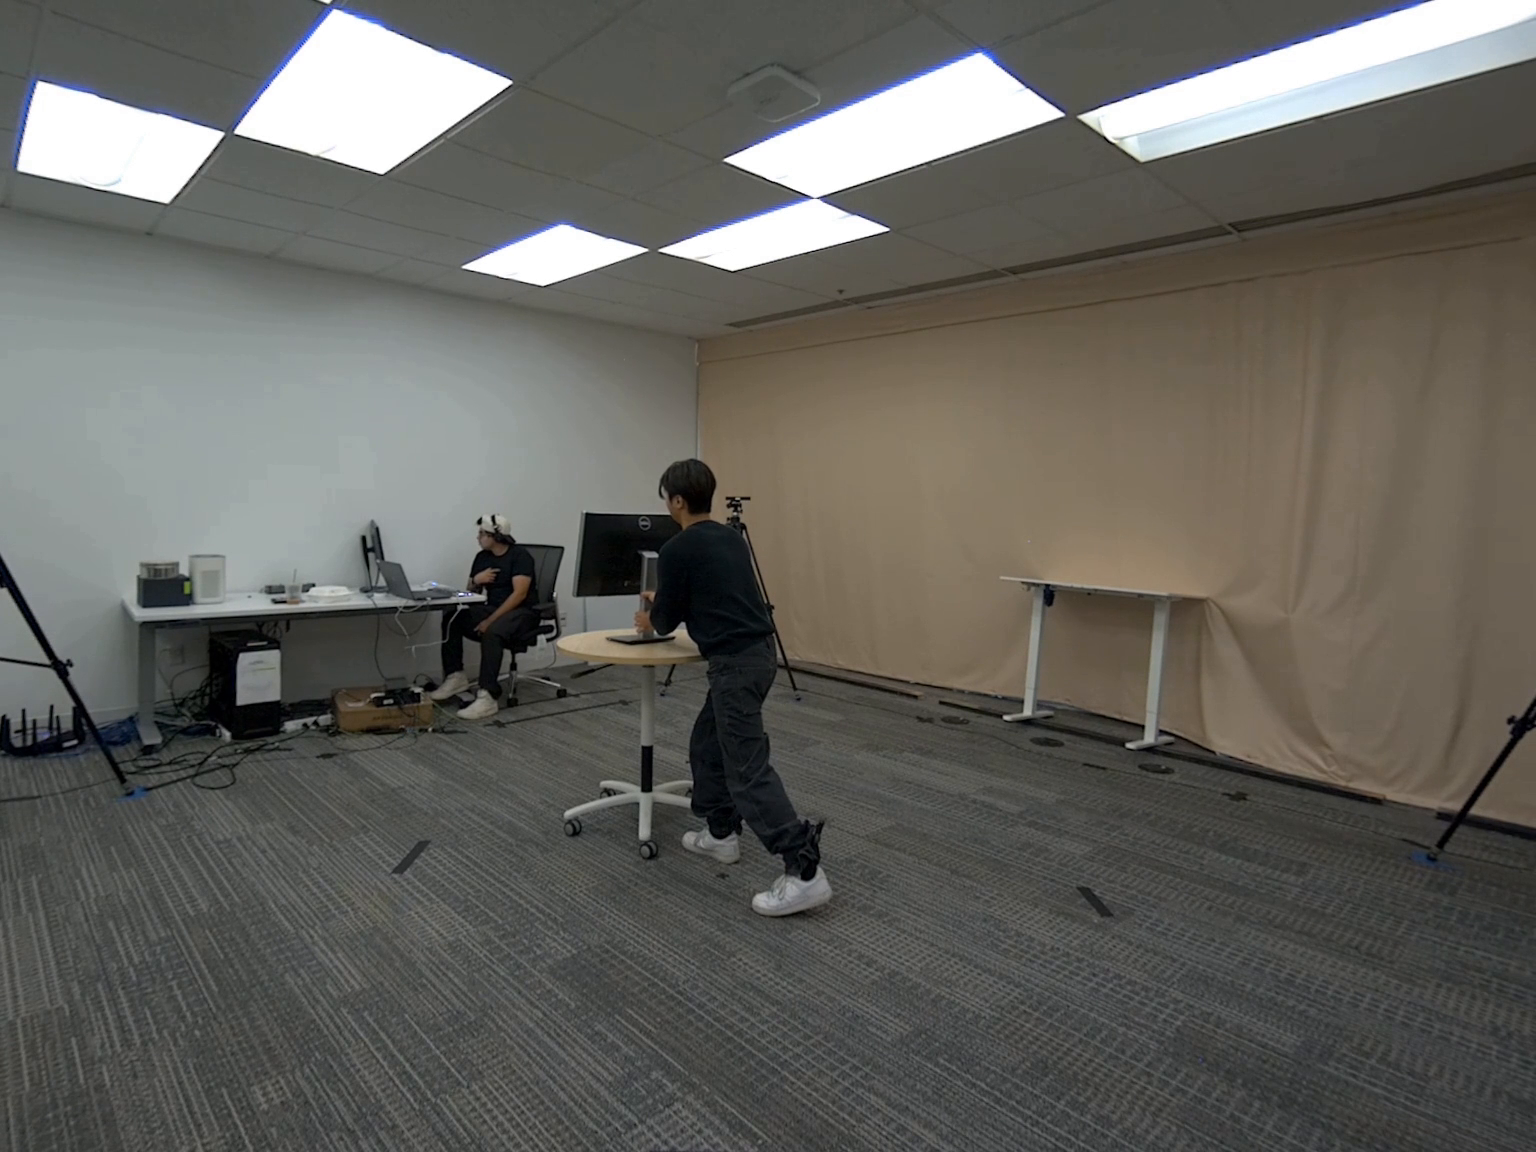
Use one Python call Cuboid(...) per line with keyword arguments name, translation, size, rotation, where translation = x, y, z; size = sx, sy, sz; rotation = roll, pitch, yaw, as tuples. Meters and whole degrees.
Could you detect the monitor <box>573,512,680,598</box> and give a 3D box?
Cuboid(name="monitor", translation=(-0.553, -0.002, 3.592), size=(0.518, 0.516, 0.178), rotation=(-4, -1, -42))
